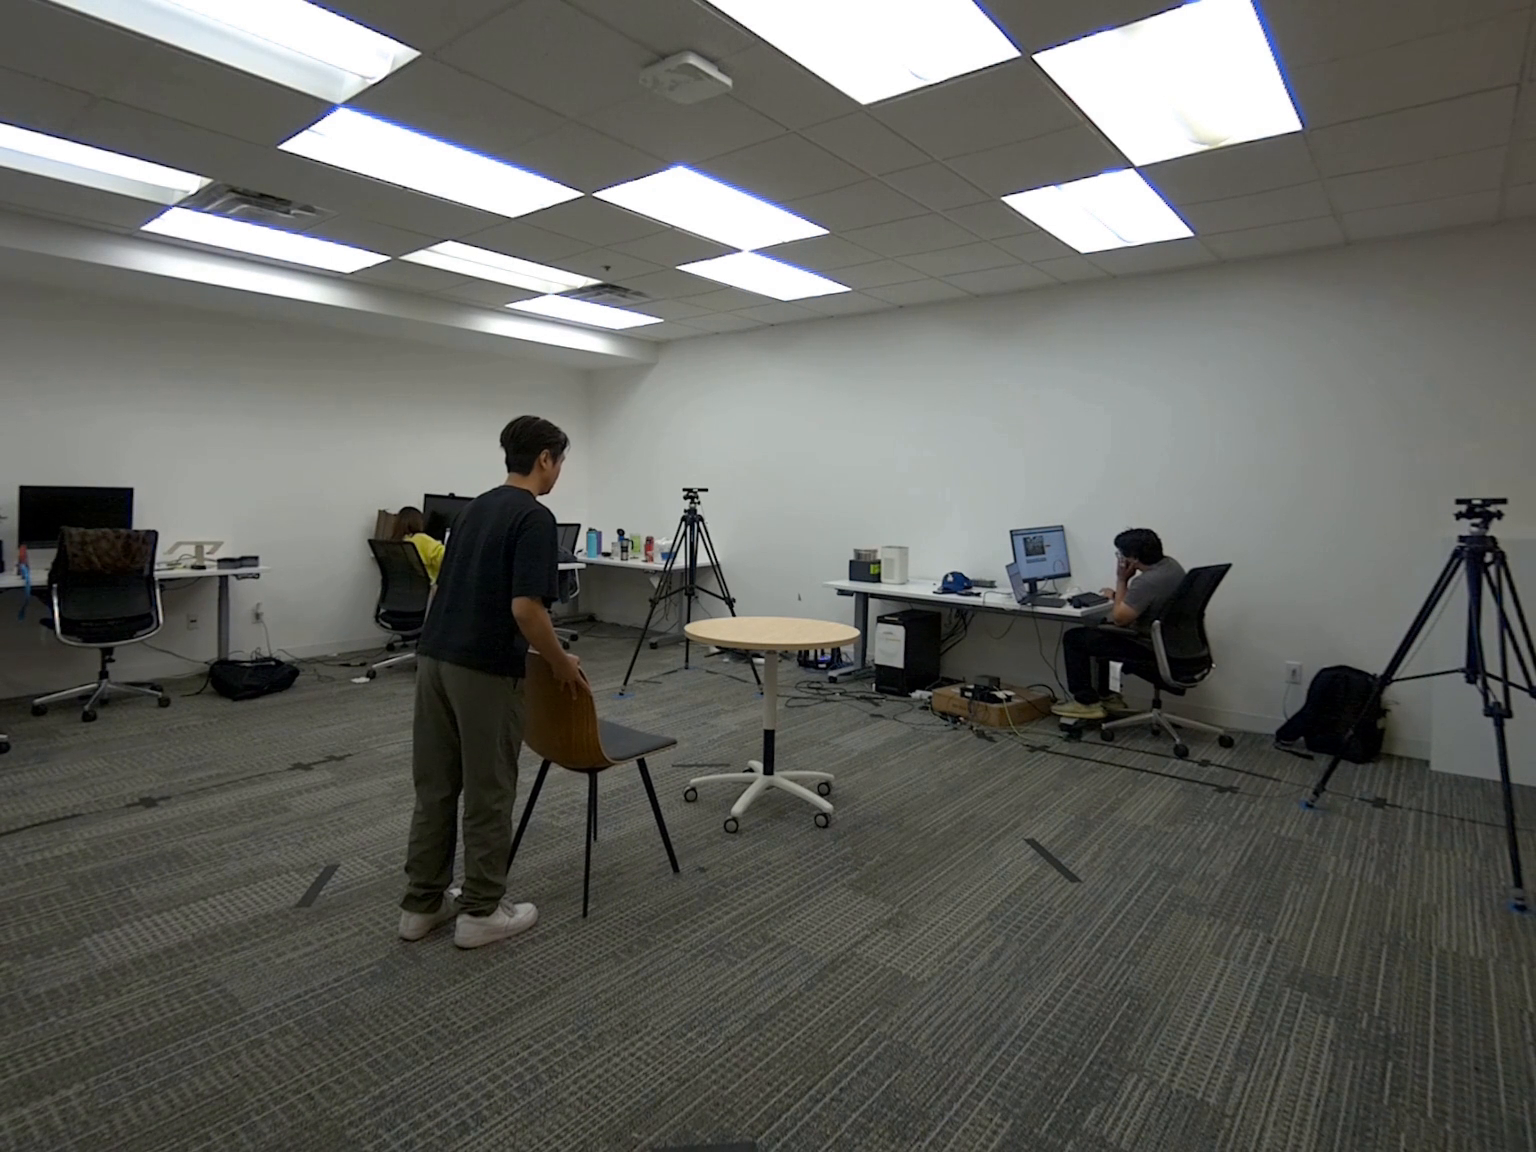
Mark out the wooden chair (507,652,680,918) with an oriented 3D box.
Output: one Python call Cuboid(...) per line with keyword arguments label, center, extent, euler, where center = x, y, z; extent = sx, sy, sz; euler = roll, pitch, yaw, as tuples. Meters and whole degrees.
Cuboid(label="wooden chair", center=(-0.630, 0.641, 3.029), extent=(0.494, 0.872, 0.509), euler=(3, 8, 38))
